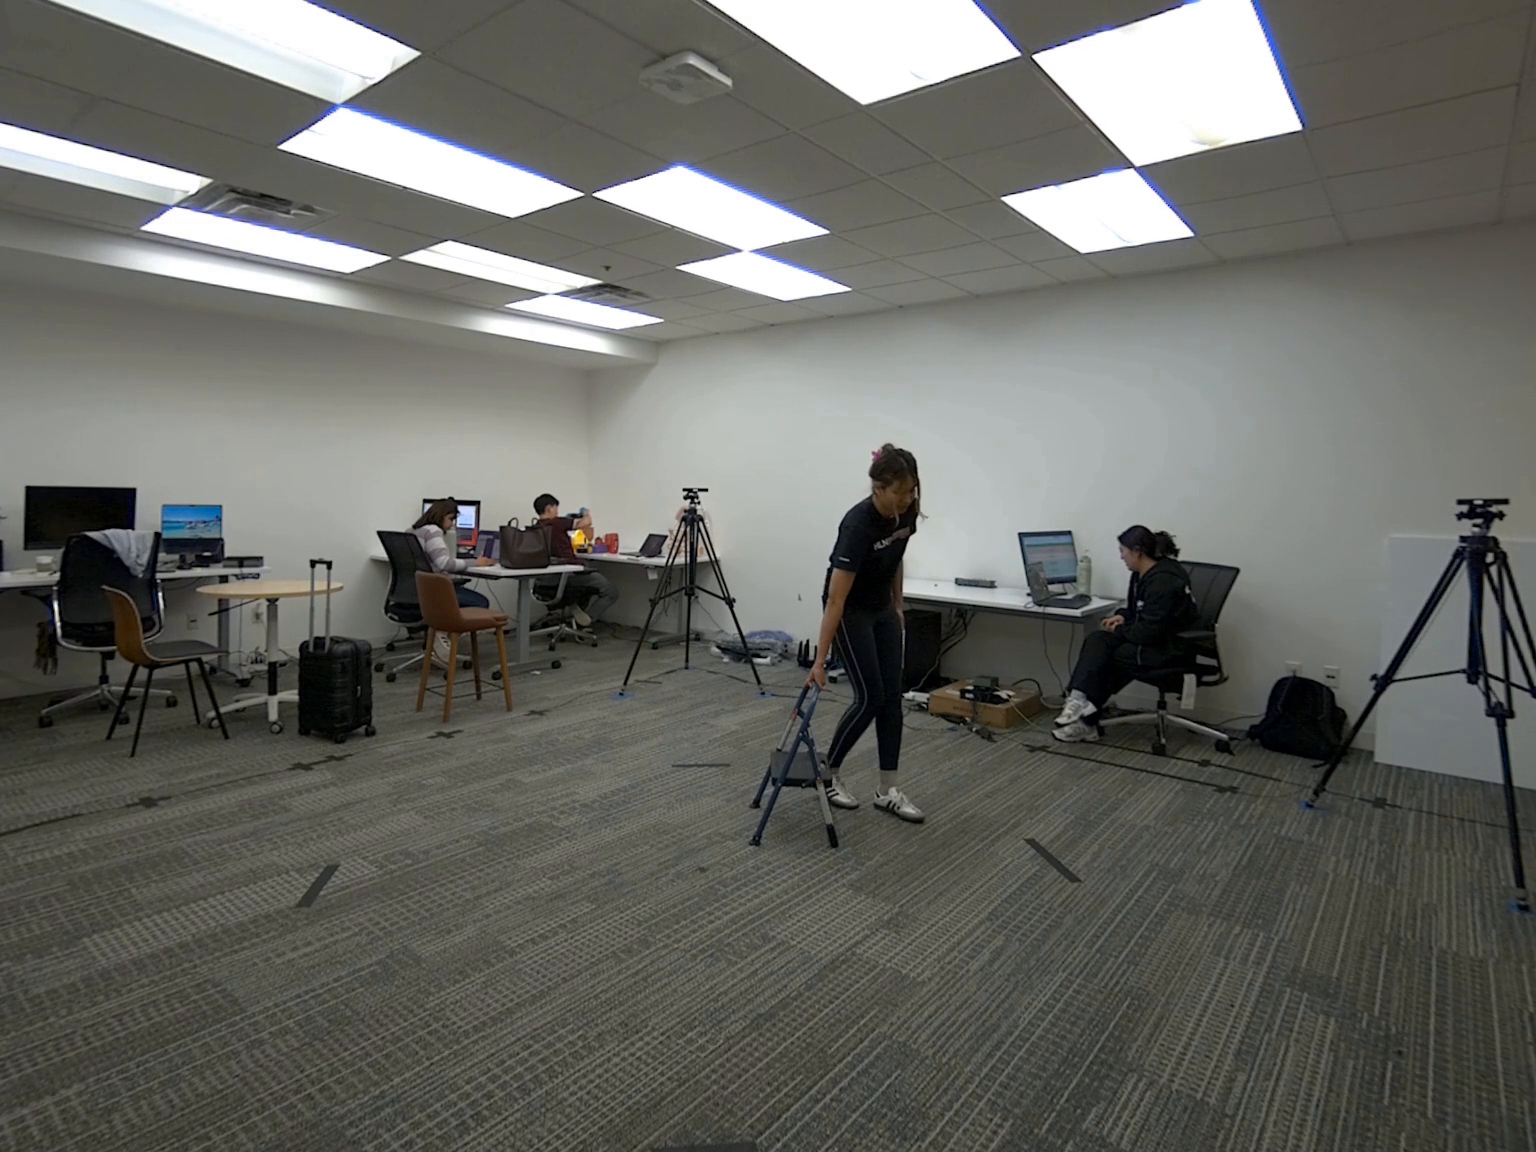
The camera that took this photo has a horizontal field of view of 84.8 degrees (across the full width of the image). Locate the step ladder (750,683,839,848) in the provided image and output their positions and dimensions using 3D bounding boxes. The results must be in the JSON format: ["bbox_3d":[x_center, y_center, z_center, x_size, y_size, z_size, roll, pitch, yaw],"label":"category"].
[{"bbox_3d":[0.100,0.738,3.514,0.350,0.604,0.432,1,3,0],"label":"step ladder"}]
